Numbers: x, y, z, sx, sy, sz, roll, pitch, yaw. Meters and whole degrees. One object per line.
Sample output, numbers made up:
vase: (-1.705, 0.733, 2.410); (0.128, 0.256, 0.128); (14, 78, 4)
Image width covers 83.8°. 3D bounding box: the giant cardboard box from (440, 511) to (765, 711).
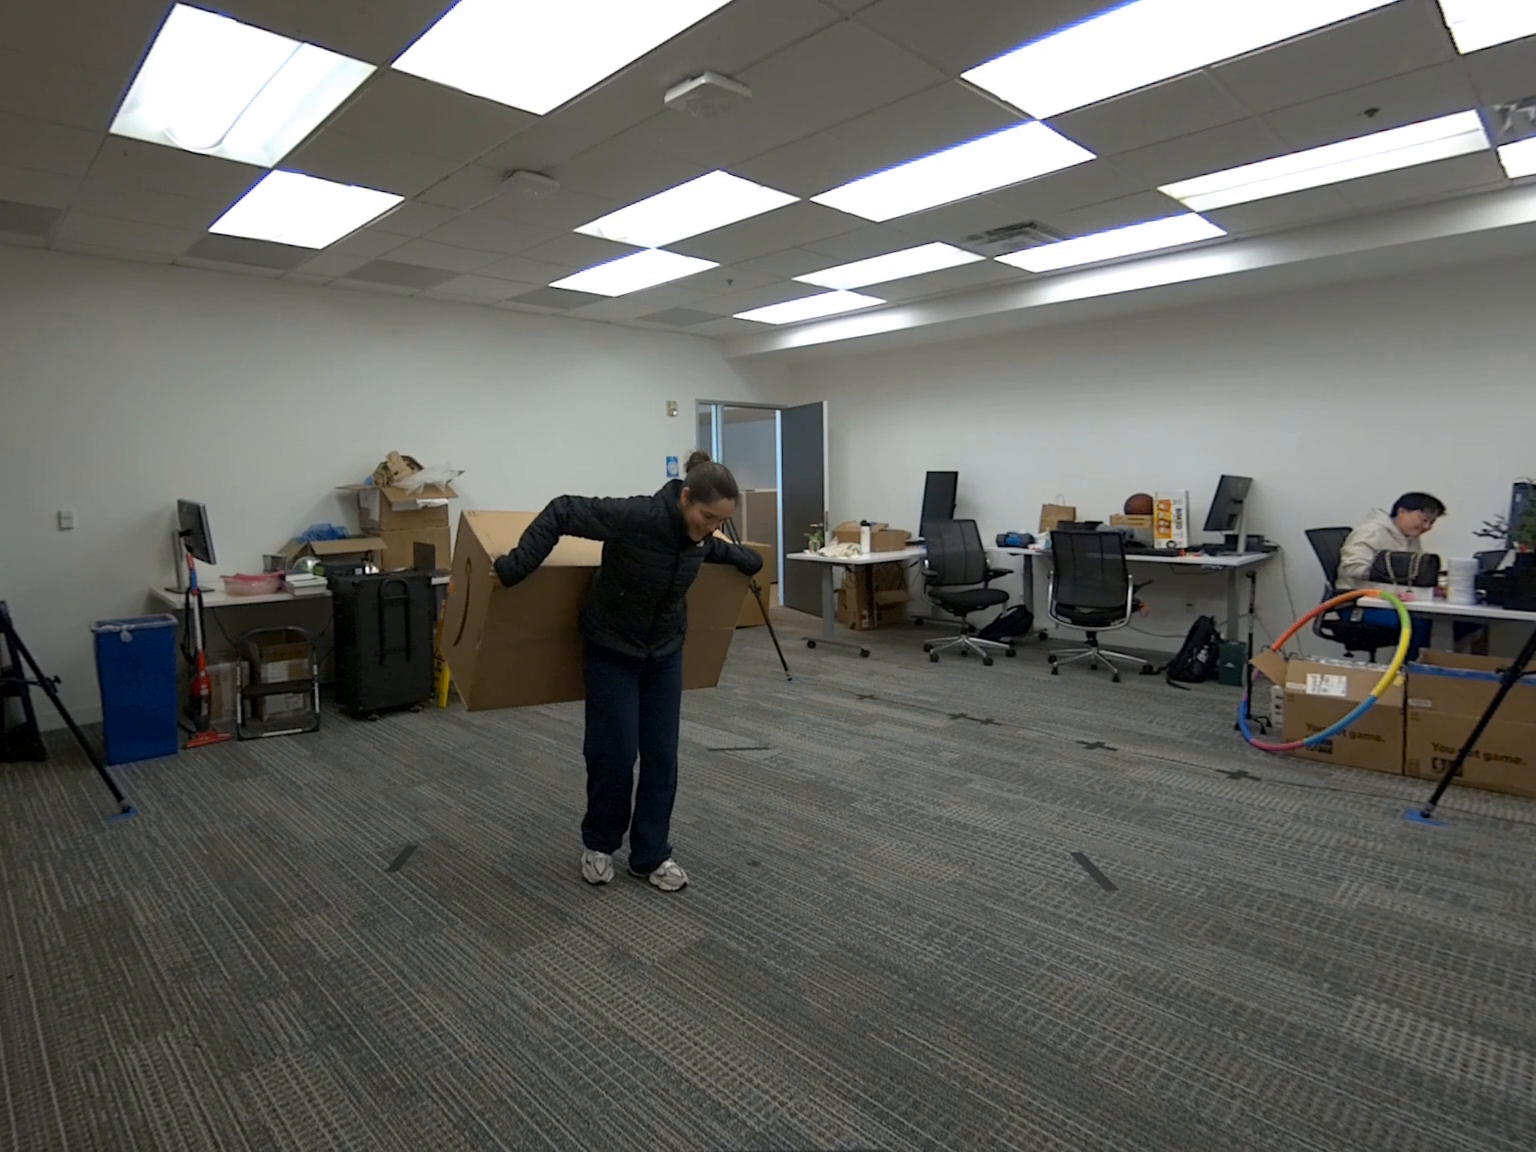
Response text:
giant cardboard box: (-0.649, 0.110, 3.256); (0.998, 0.570, 0.443); (-1, 29, -35)
